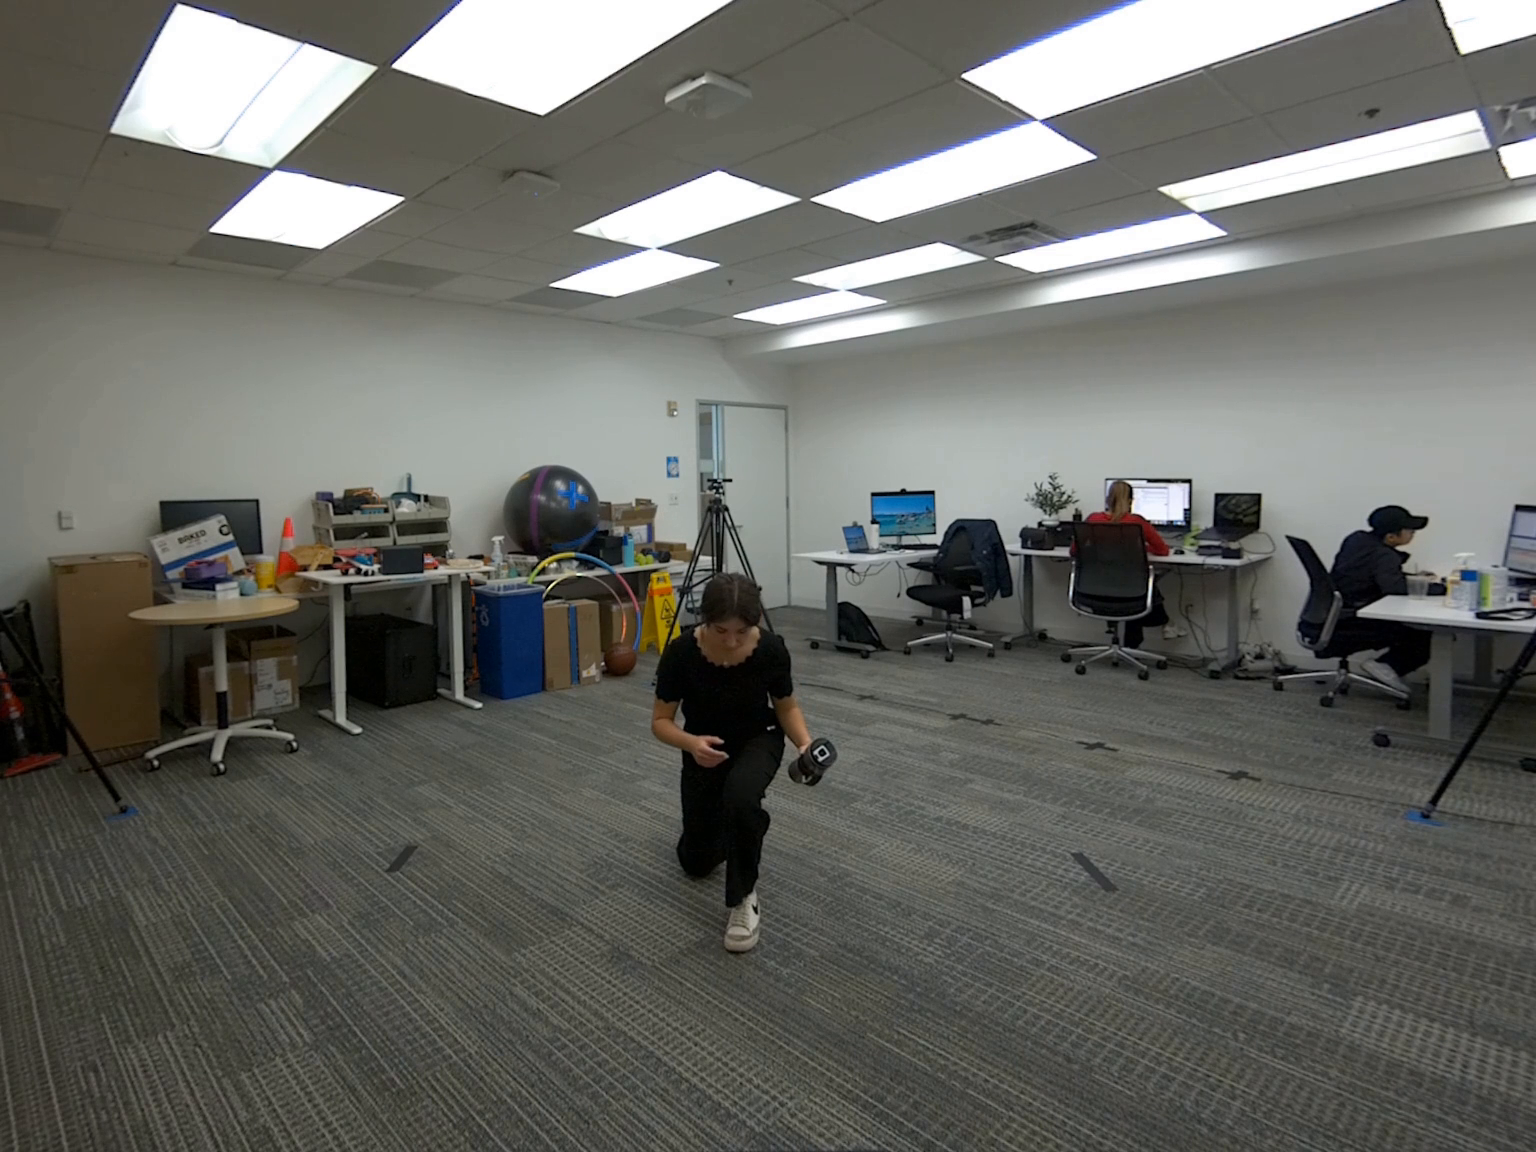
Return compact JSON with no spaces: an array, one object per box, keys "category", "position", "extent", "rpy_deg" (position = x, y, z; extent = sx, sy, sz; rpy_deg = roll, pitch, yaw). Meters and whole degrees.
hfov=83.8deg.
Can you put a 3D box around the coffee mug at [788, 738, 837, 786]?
[{"category":"coffee mug","position":[0.113,0.576,2.590],"extent":[0.122,0.088,0.202],"rpy_deg":[-49,-1,-40]}]
